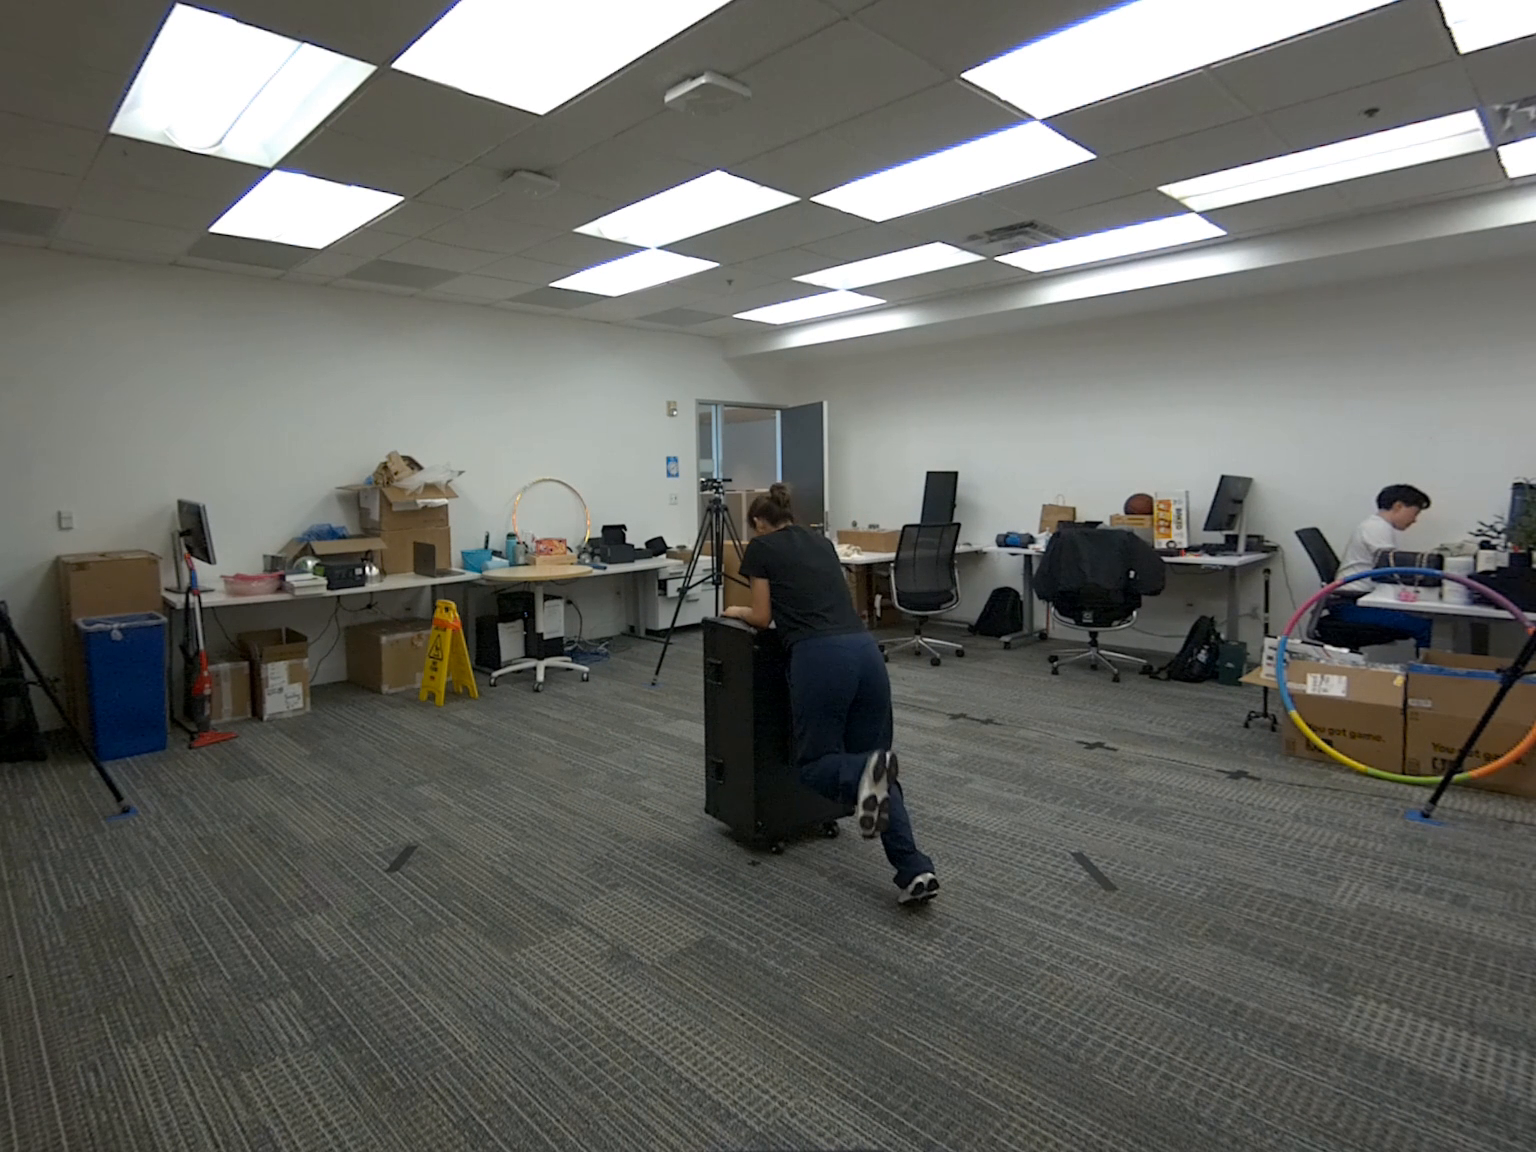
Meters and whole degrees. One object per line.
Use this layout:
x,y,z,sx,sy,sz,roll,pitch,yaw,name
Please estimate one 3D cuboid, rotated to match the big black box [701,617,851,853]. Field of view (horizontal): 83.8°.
0.043,0.528,3.361,0.508,0.859,0.407,-3,4,-33,big black box
